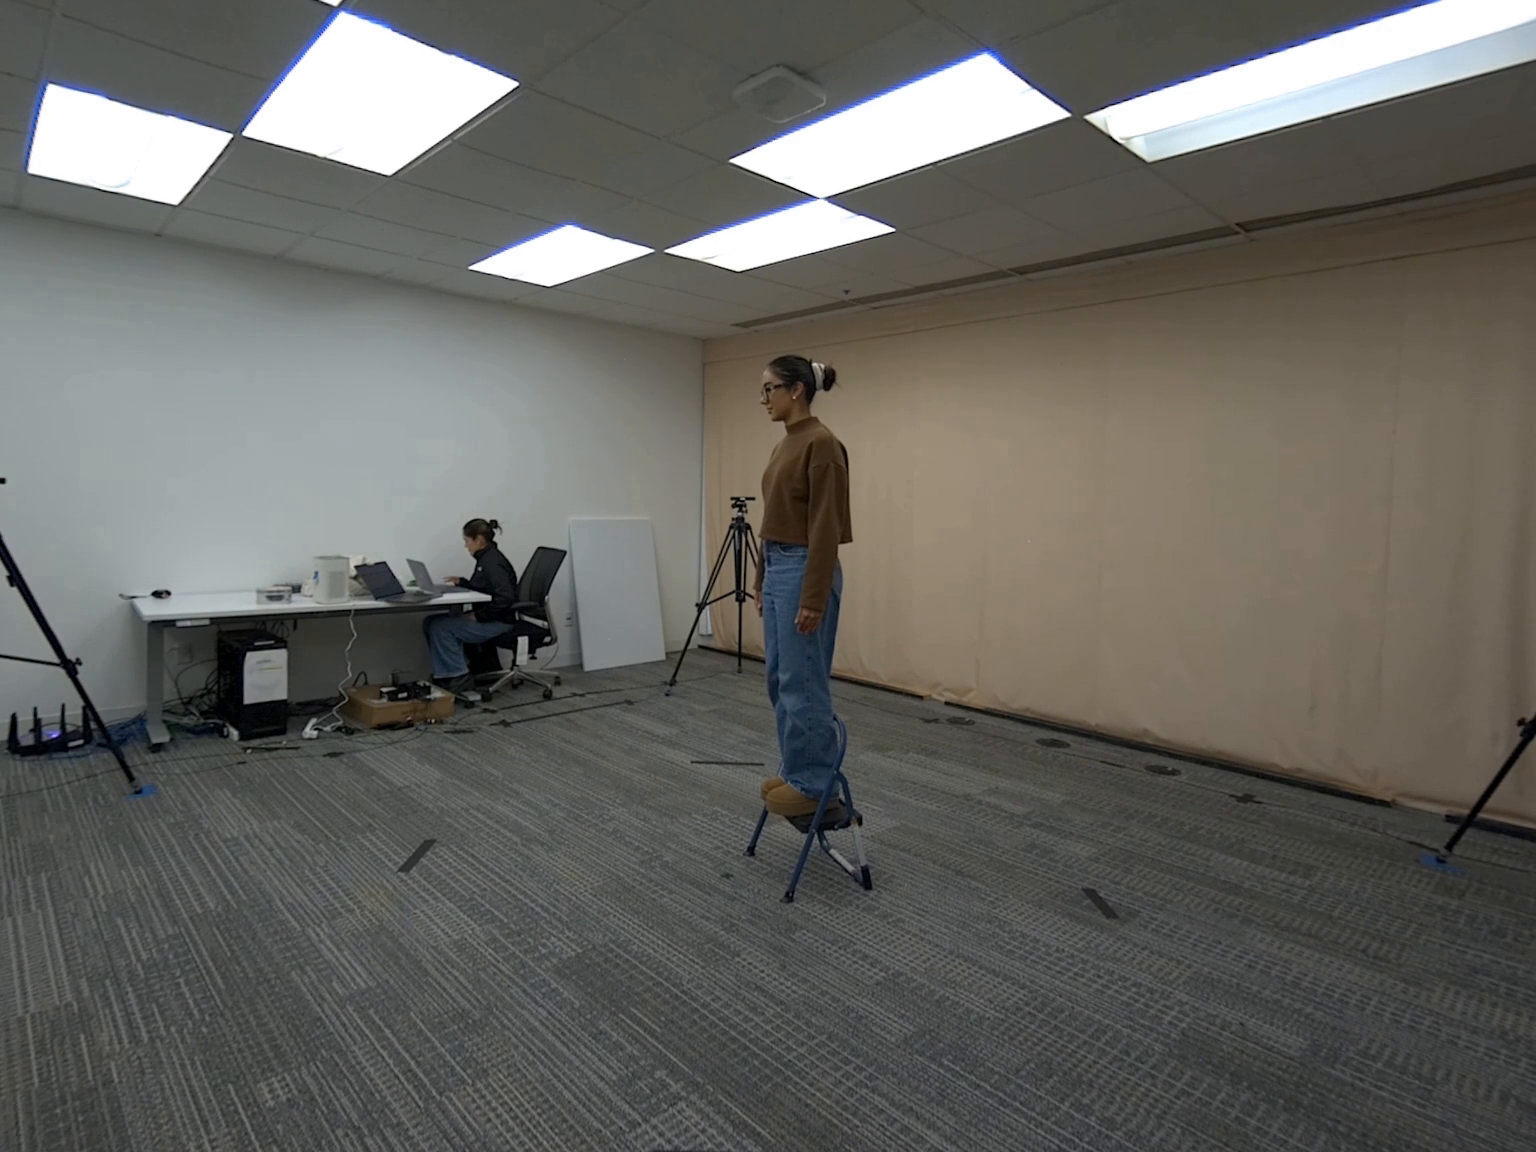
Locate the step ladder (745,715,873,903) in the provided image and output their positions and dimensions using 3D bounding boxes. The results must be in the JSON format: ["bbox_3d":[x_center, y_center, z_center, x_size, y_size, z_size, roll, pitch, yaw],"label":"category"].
[{"bbox_3d":[0.148,0.813,3.140,0.344,0.605,0.438,0,4,-21],"label":"step ladder"}]
